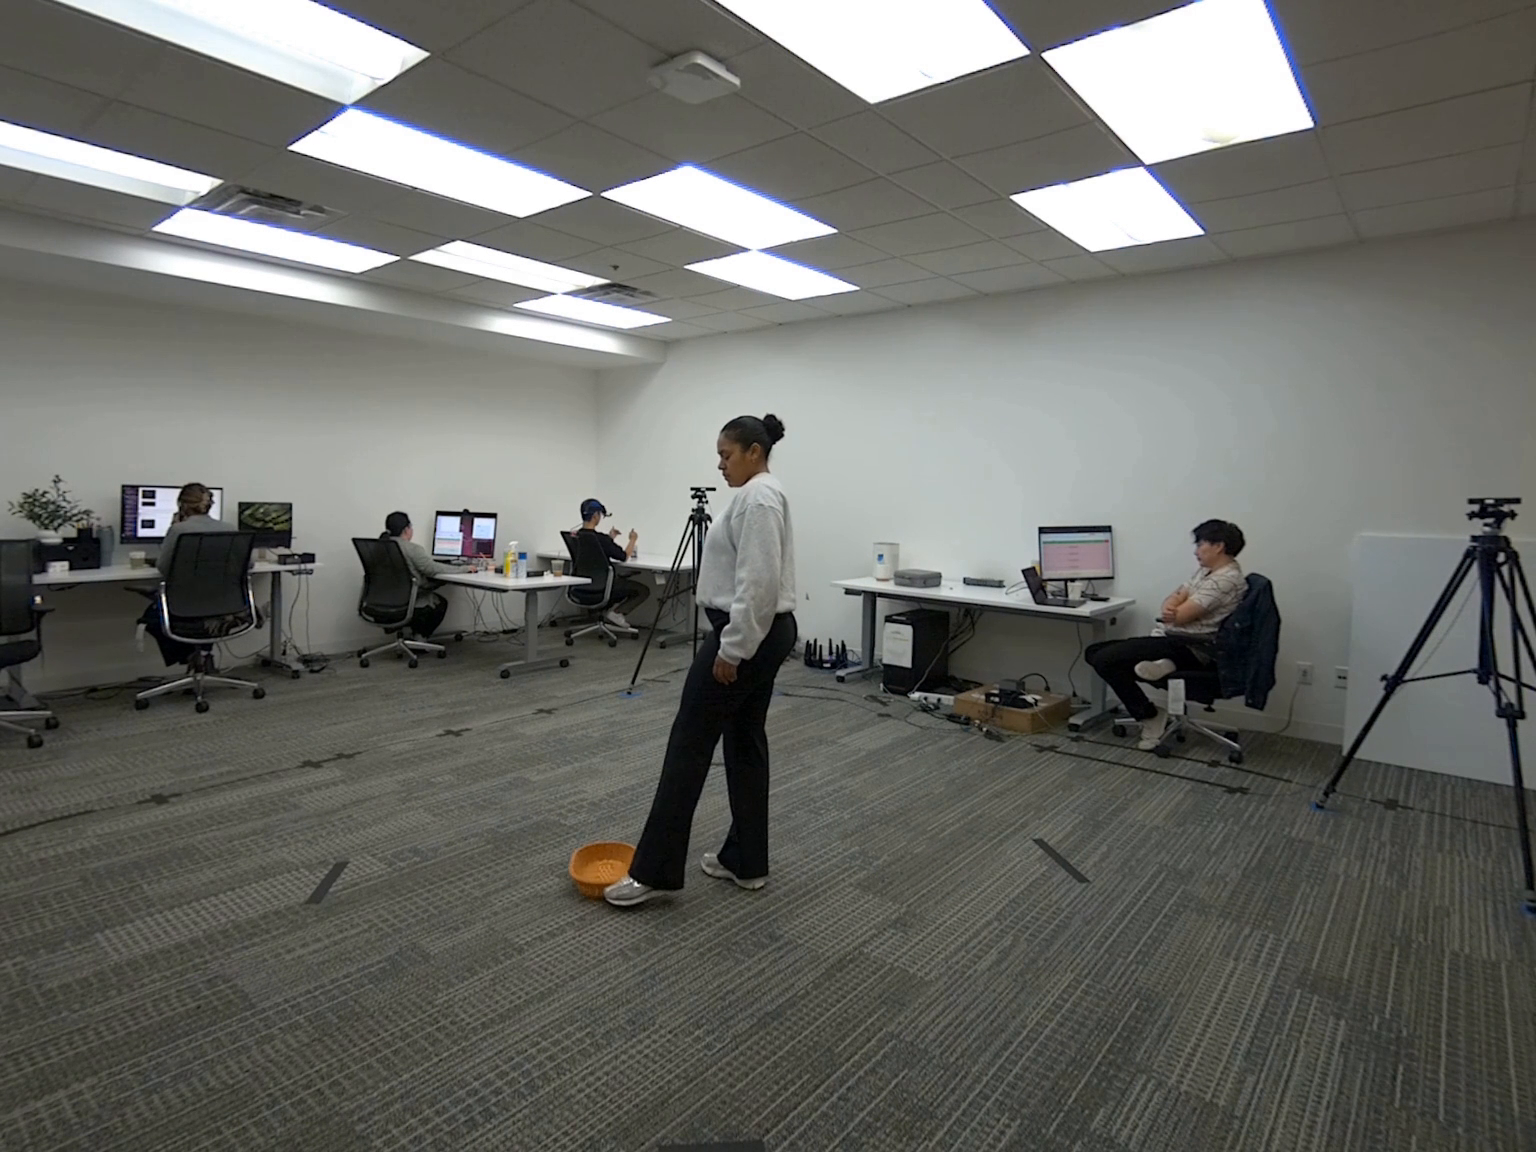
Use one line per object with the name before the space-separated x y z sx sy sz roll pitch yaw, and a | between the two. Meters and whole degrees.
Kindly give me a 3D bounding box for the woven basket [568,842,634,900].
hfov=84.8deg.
woven basket | -0.571 1.034 2.986 0.251 0.073 0.353 1 5 -5
